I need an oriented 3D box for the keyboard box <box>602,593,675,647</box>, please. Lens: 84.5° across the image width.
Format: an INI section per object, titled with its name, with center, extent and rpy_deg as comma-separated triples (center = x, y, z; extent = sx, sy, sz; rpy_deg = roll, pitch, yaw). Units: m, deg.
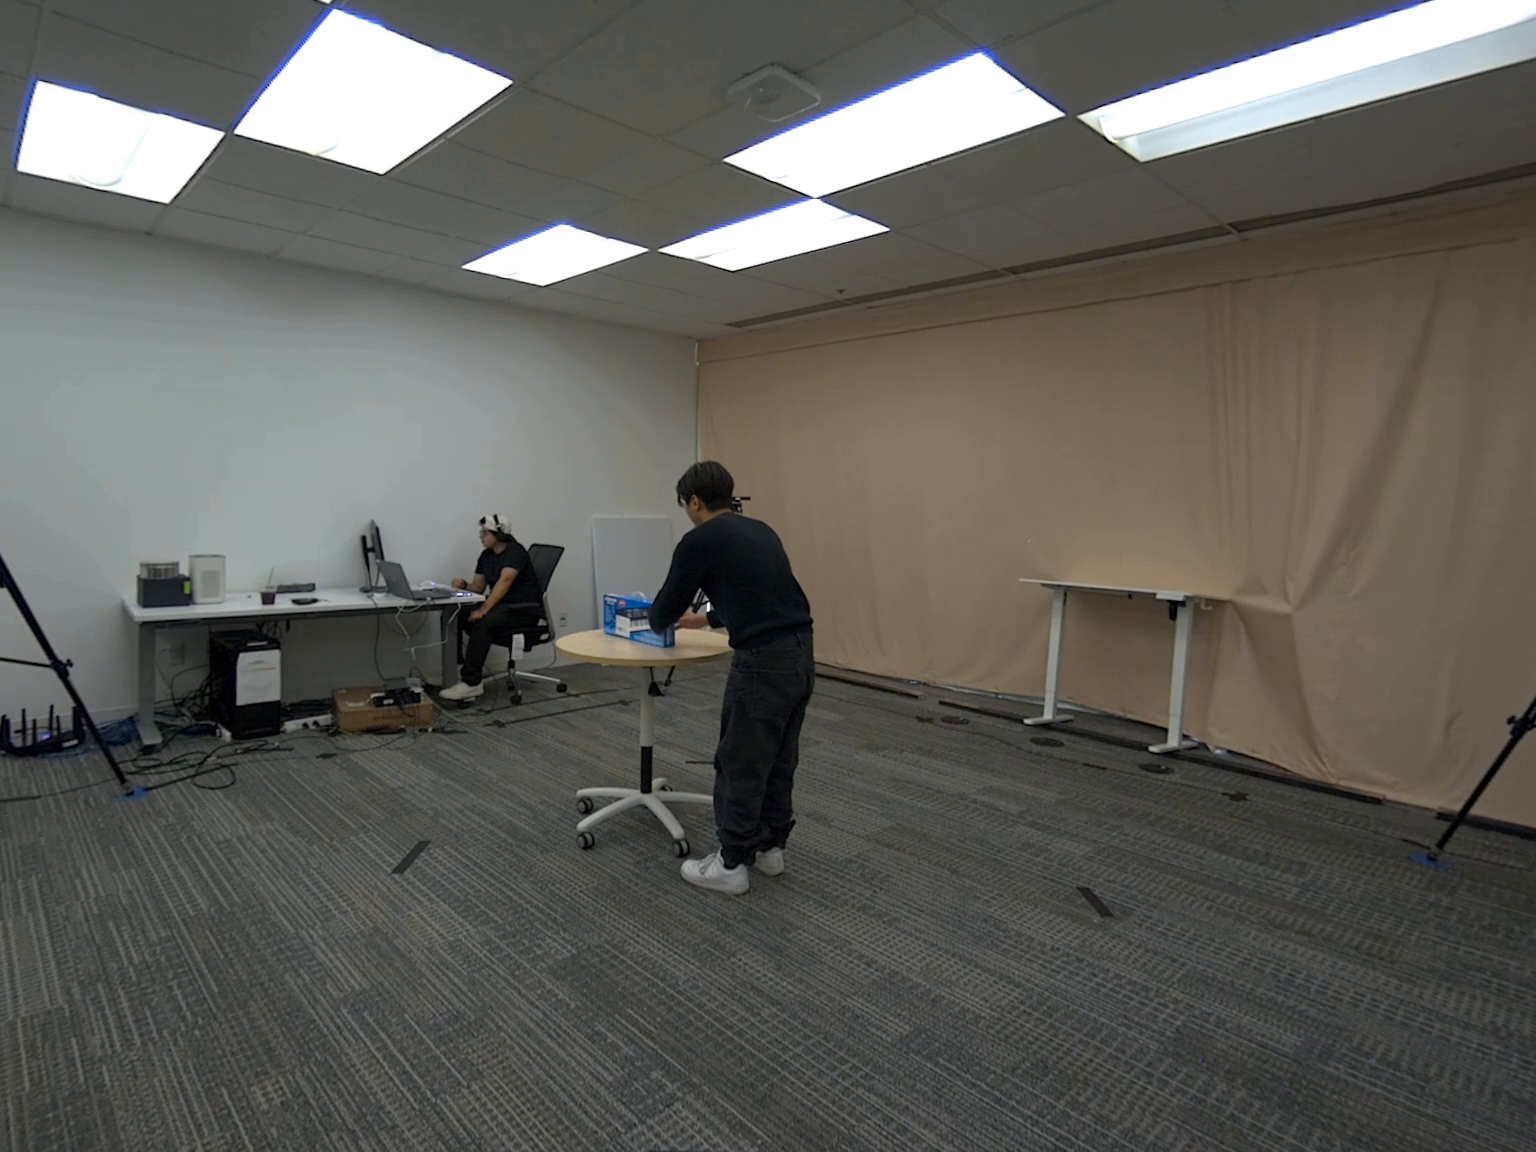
[keyboard box]
center = -0.561, 0.188, 3.575
extent = 0.058, 0.175, 0.448
rpy_deg = -4, 8, -43
